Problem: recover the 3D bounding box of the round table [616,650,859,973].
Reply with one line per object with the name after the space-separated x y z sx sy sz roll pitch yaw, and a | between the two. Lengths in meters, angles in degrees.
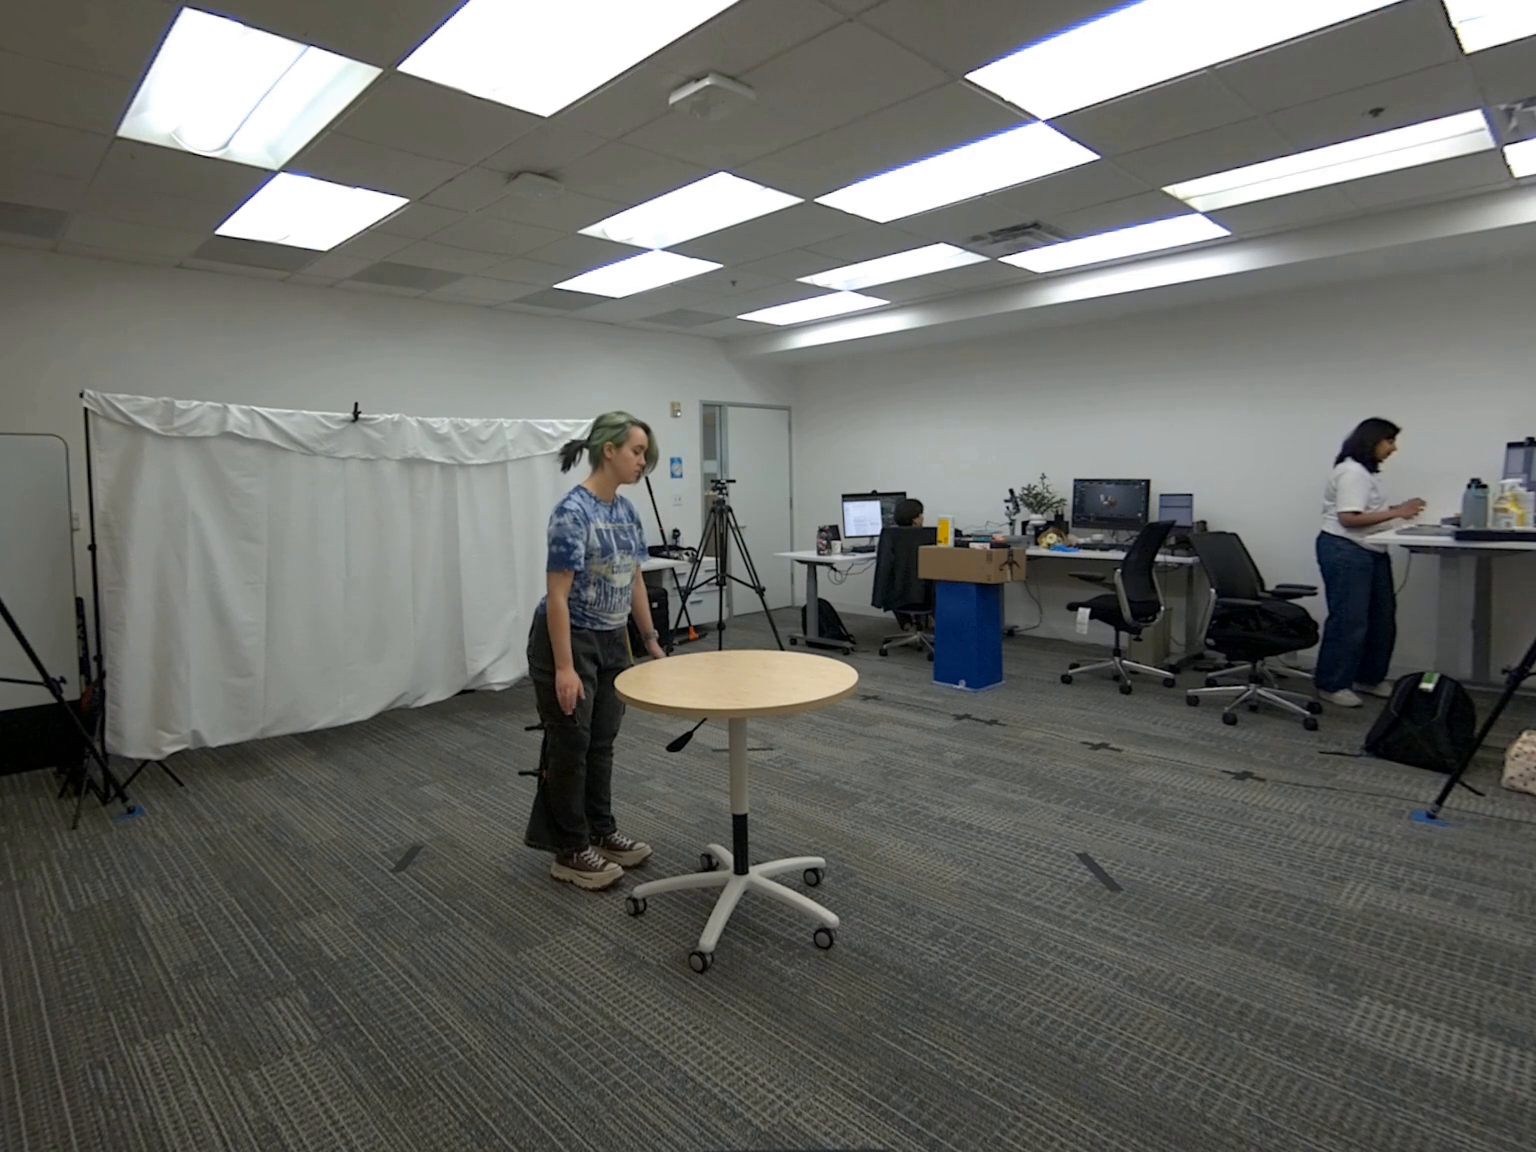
-0.089 0.709 2.719 0.763 0.791 0.768 -2 5 -2 | round table
